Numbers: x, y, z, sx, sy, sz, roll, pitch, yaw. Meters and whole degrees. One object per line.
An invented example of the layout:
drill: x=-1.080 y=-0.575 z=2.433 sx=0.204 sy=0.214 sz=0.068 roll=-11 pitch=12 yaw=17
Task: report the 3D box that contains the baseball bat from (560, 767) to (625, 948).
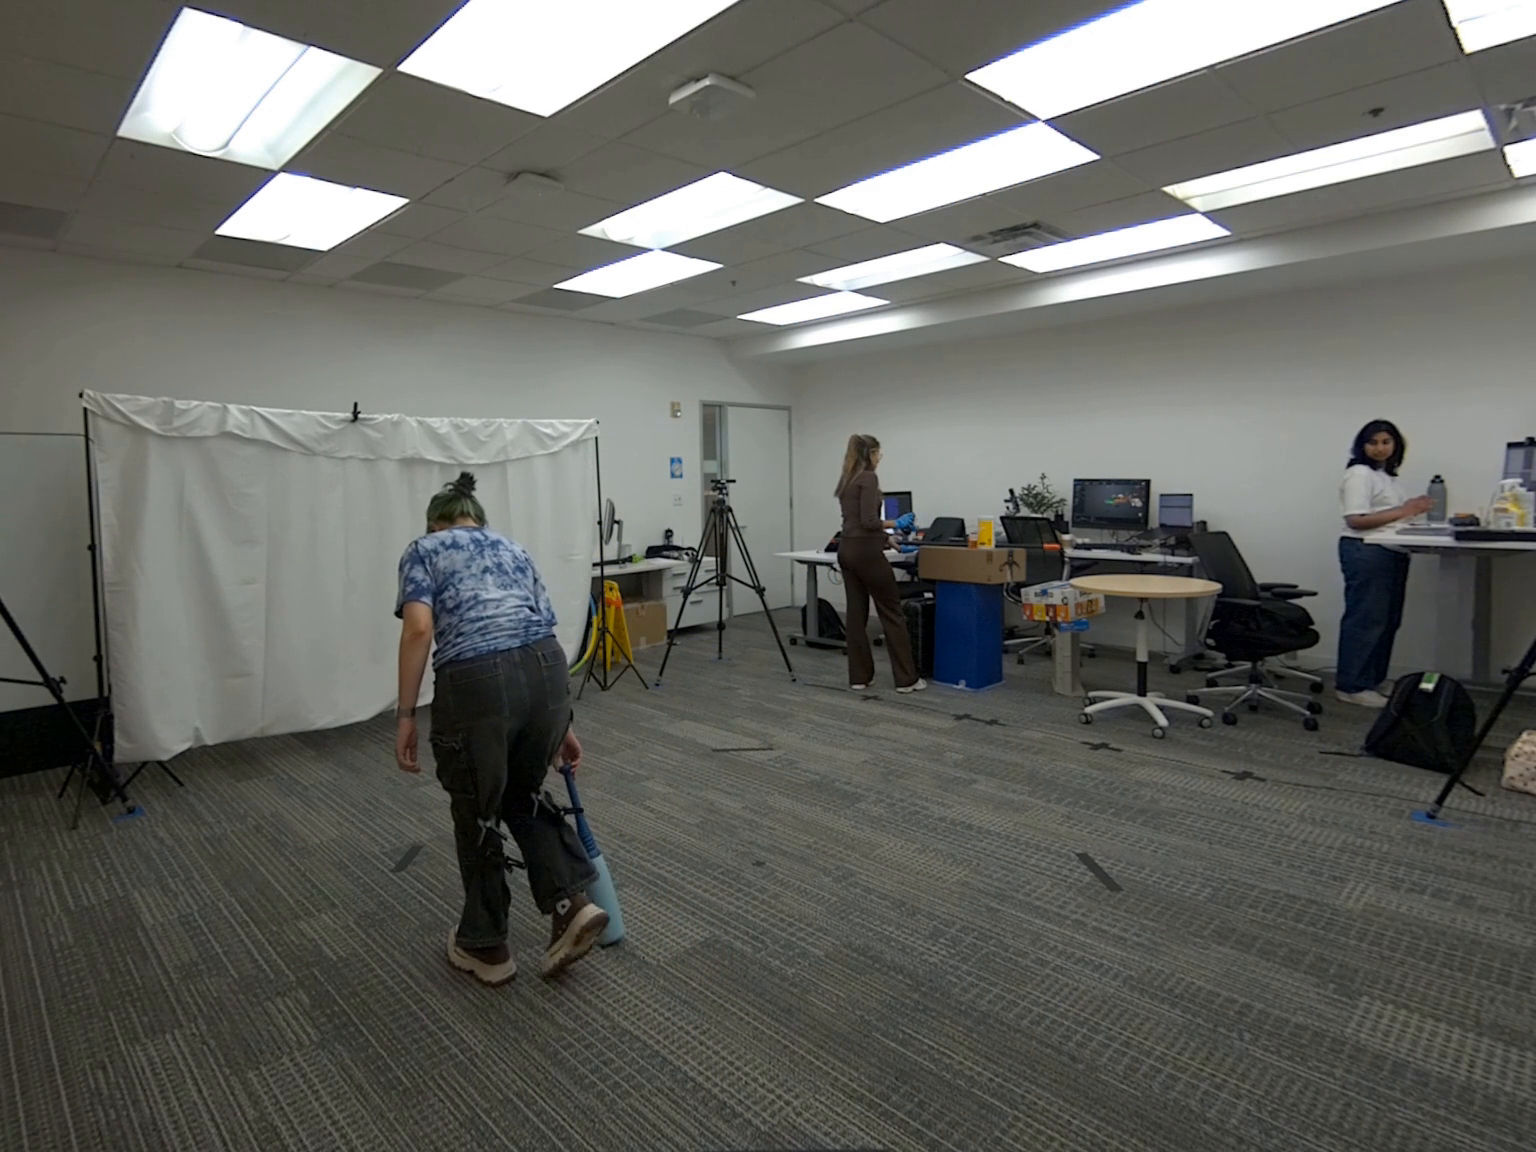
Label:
baseball bat: x=-0.550 y=0.853 z=2.630 sx=0.089 sy=0.548 sz=0.088 roll=-17 pitch=-7 yaw=-3
